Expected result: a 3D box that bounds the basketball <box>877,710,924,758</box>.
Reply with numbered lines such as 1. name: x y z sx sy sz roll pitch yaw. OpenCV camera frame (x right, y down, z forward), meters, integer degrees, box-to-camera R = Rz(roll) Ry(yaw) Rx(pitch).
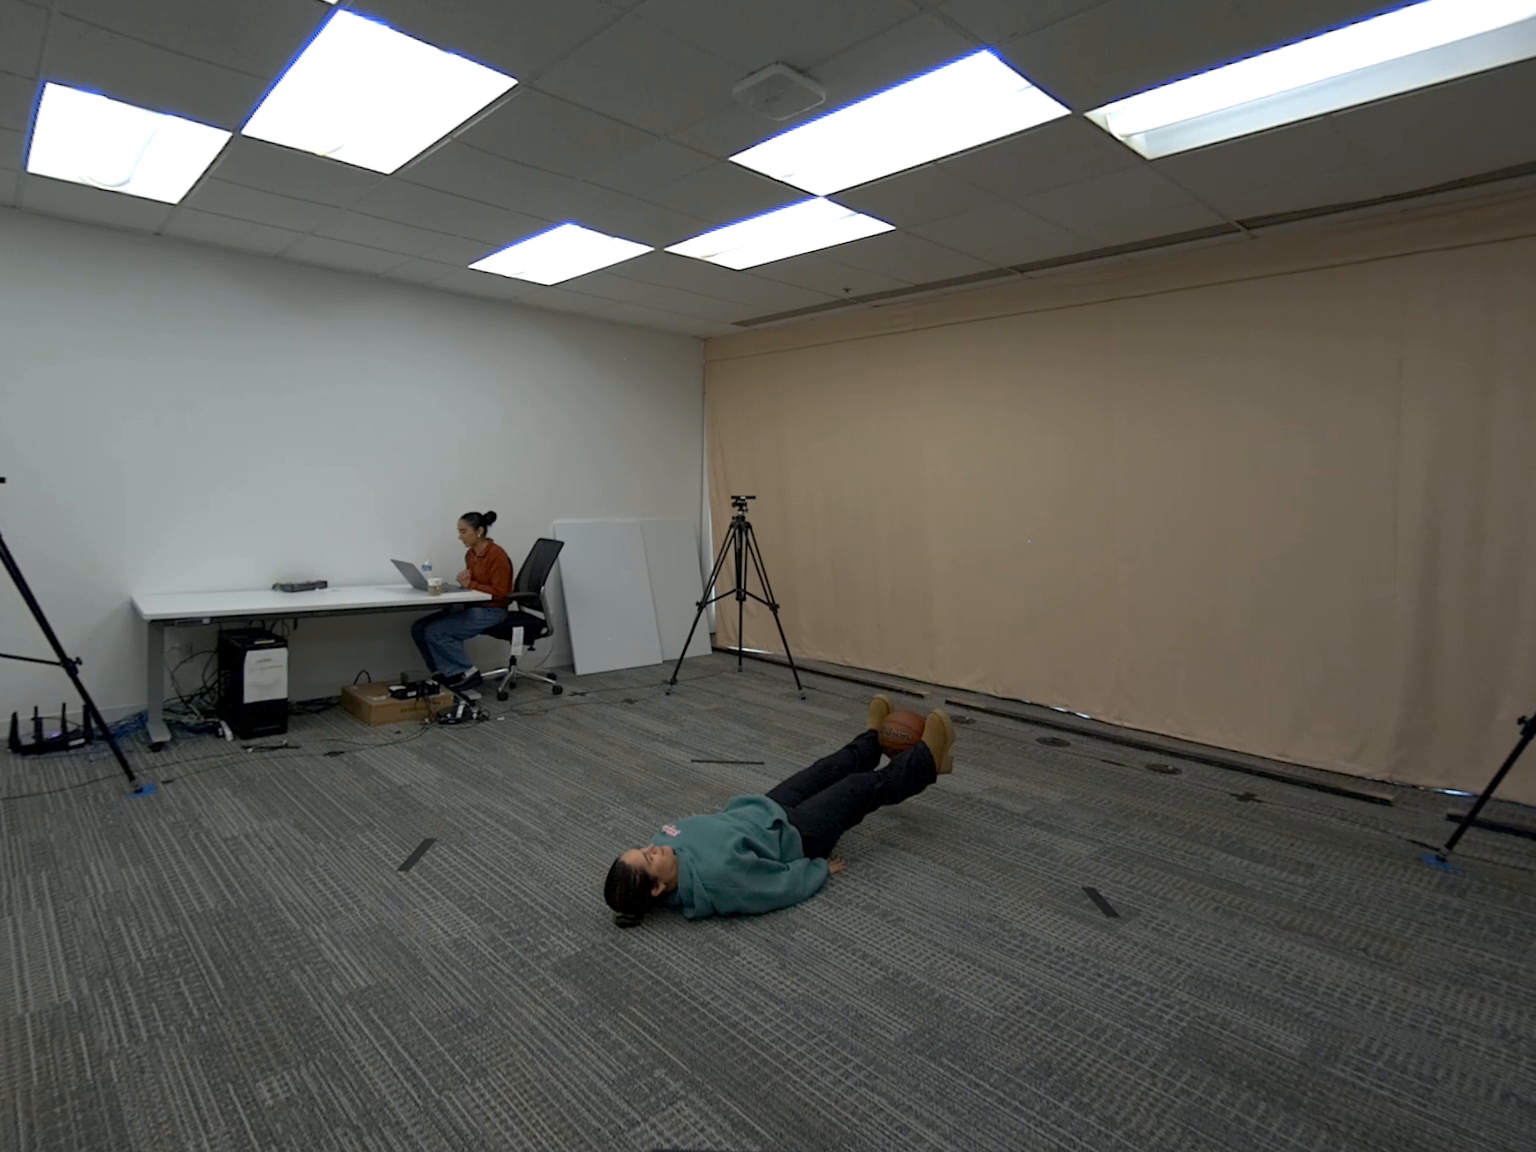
1. basketball: 0.596 0.710 3.734 0.236 0.235 0.237 1 5 -1
